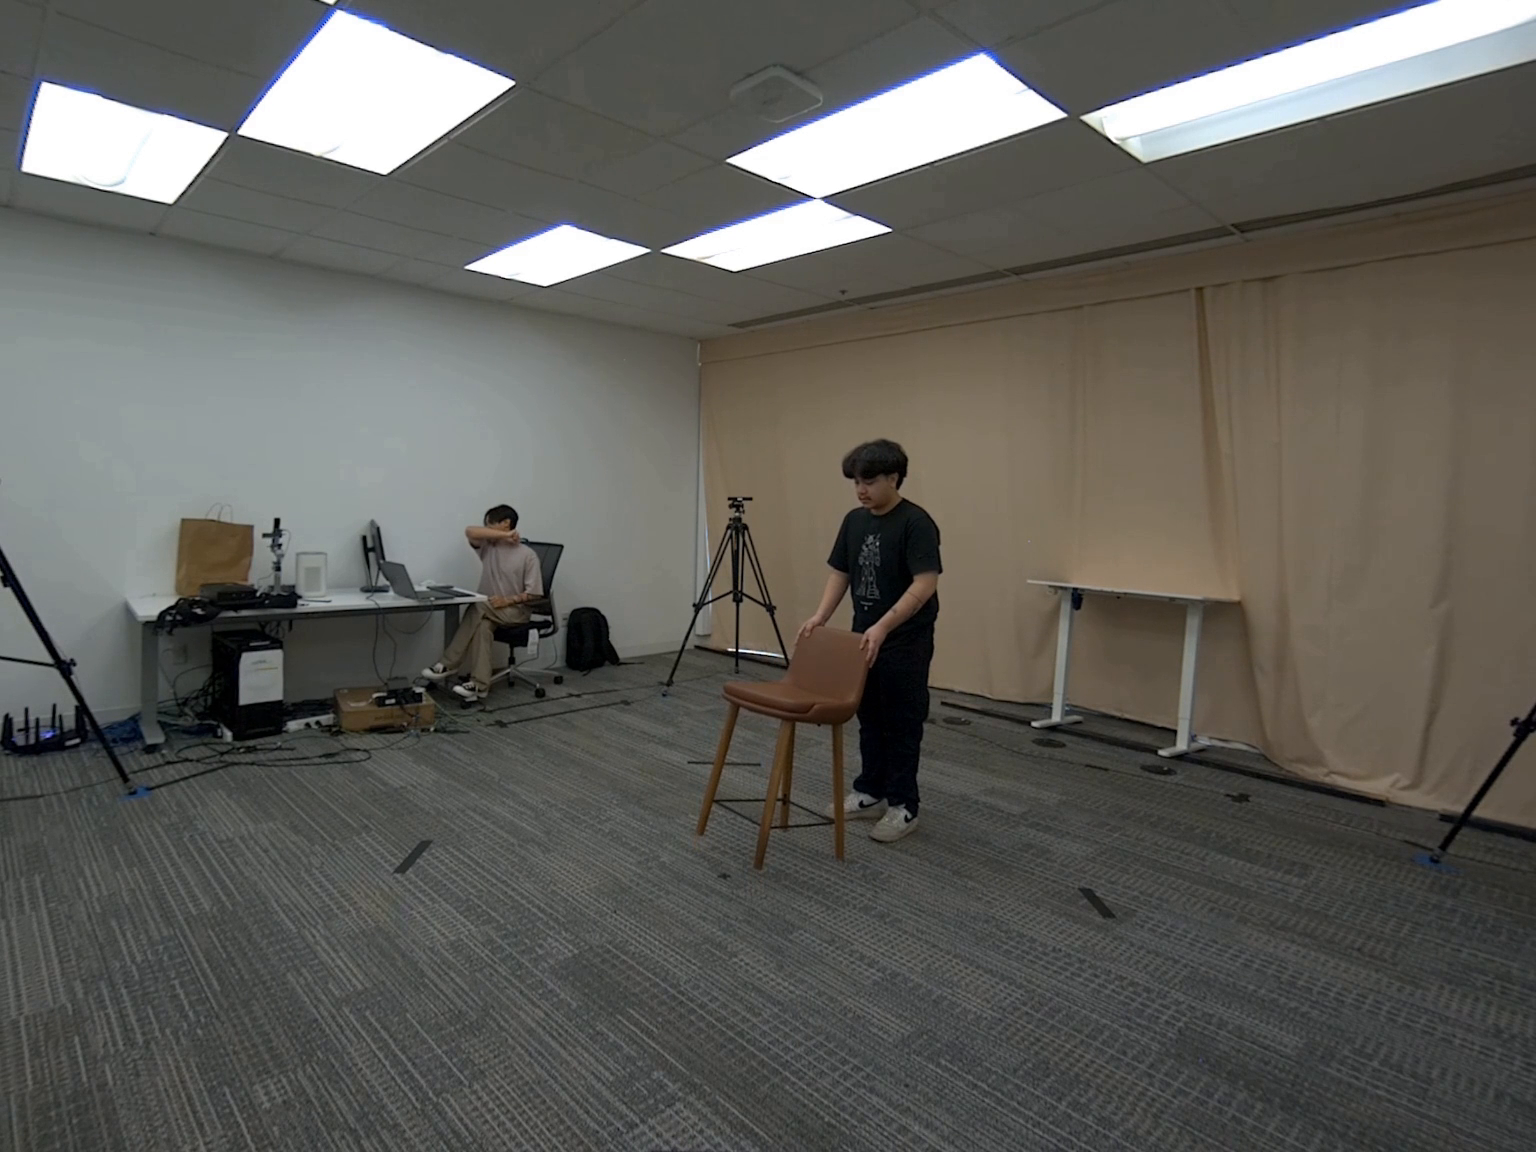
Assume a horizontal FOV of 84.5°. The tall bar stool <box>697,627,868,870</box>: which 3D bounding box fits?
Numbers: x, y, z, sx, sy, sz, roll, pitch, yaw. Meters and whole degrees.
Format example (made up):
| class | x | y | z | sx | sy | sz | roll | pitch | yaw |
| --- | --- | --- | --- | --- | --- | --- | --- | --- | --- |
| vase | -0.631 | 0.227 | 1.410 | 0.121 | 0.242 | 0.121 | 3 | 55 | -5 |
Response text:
| class | x | y | z | sx | sy | sz | roll | pitch | yaw |
| --- | --- | --- | --- | --- | --- | --- | --- | --- | --- |
| tall bar stool | 0.073 | 0.633 | 3.312 | 0.455 | 0.891 | 0.467 | 12 | -4 | -36 |
